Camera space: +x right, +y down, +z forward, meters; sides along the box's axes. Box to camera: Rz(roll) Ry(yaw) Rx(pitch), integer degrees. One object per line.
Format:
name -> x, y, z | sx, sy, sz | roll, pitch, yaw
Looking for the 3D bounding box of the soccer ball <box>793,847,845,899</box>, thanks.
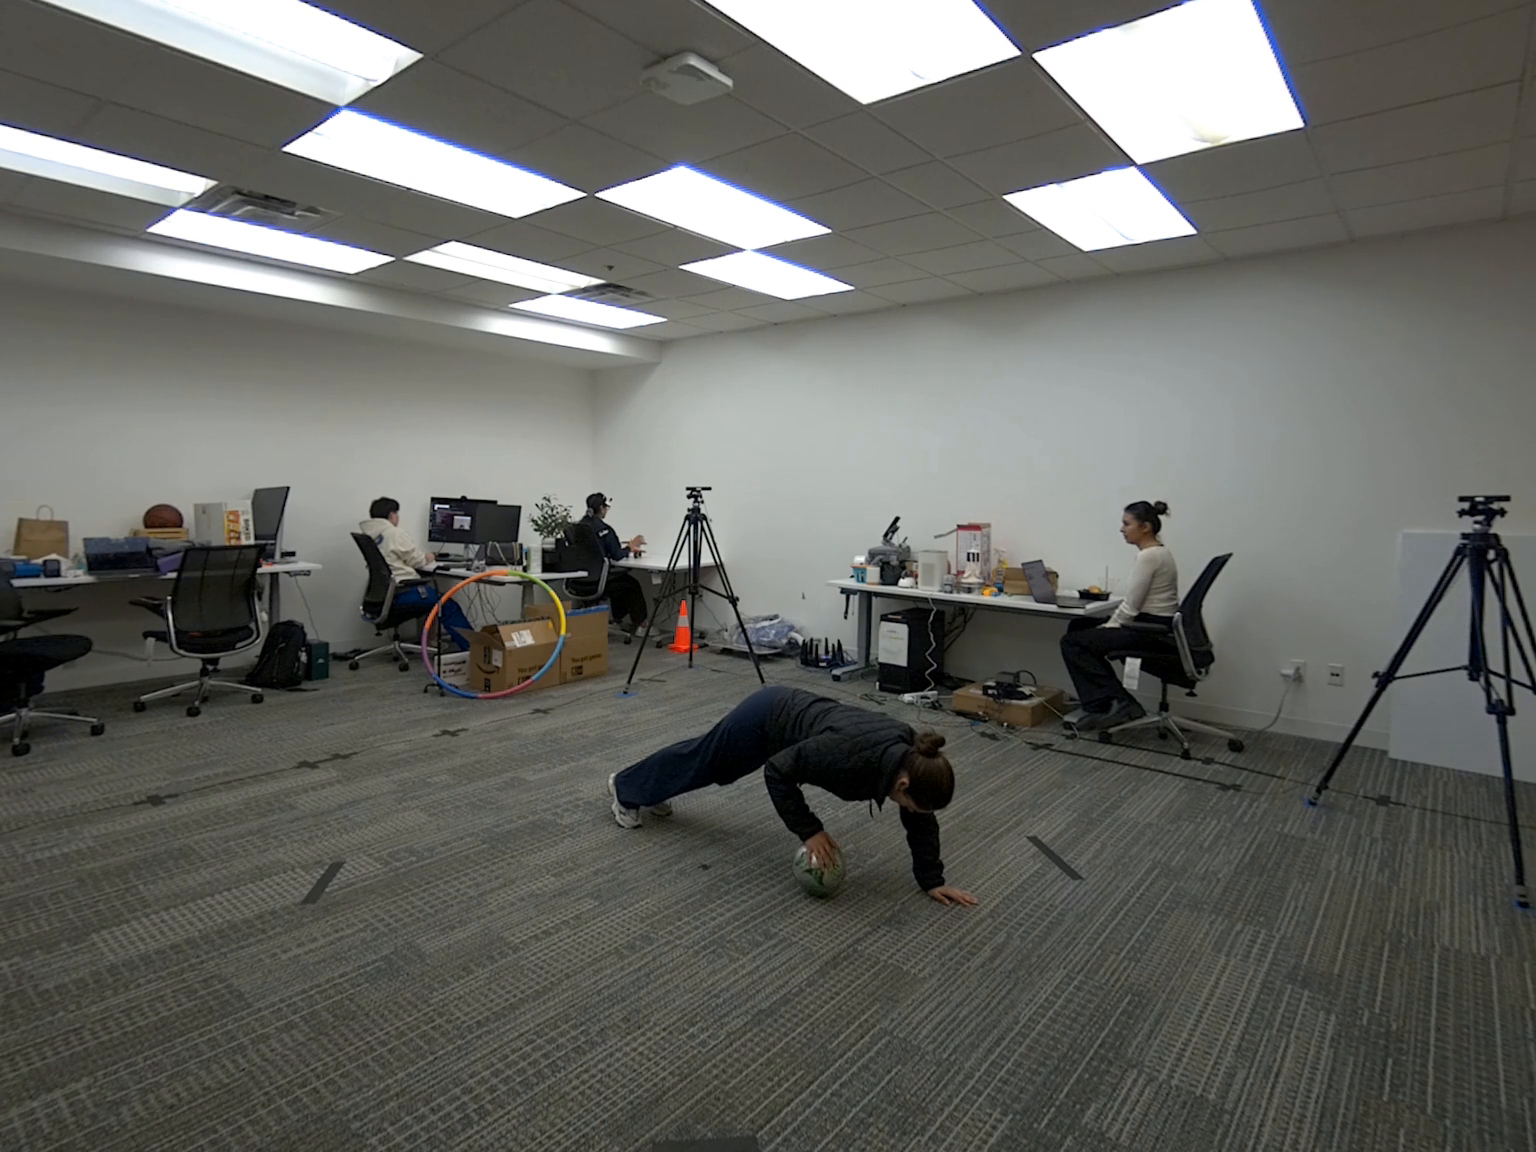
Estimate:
soccer ball -> 0.176, 0.993, 2.940 | 0.187, 0.187, 0.188 | 1, 4, -2
